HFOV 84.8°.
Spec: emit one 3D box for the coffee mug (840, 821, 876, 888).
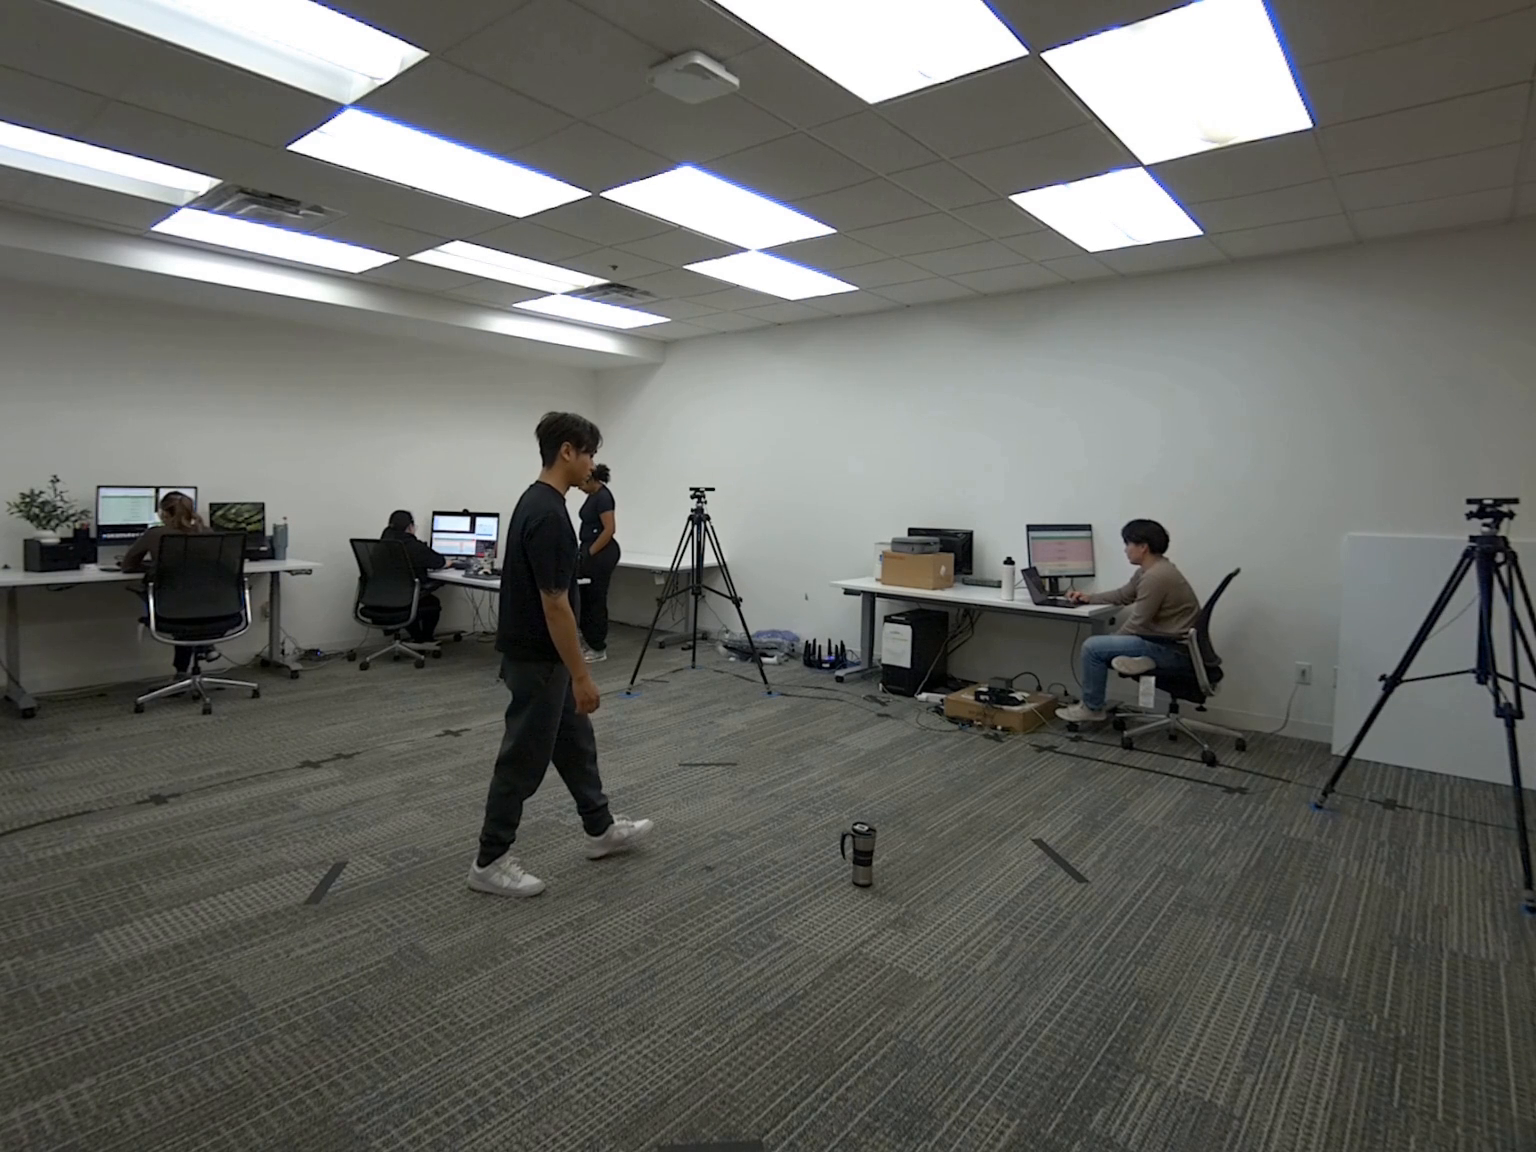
[{"bbox_3d":[0.313,0.992,3.027,0.126,0.201,0.085,8,9,34],"label":"coffee mug"}]
